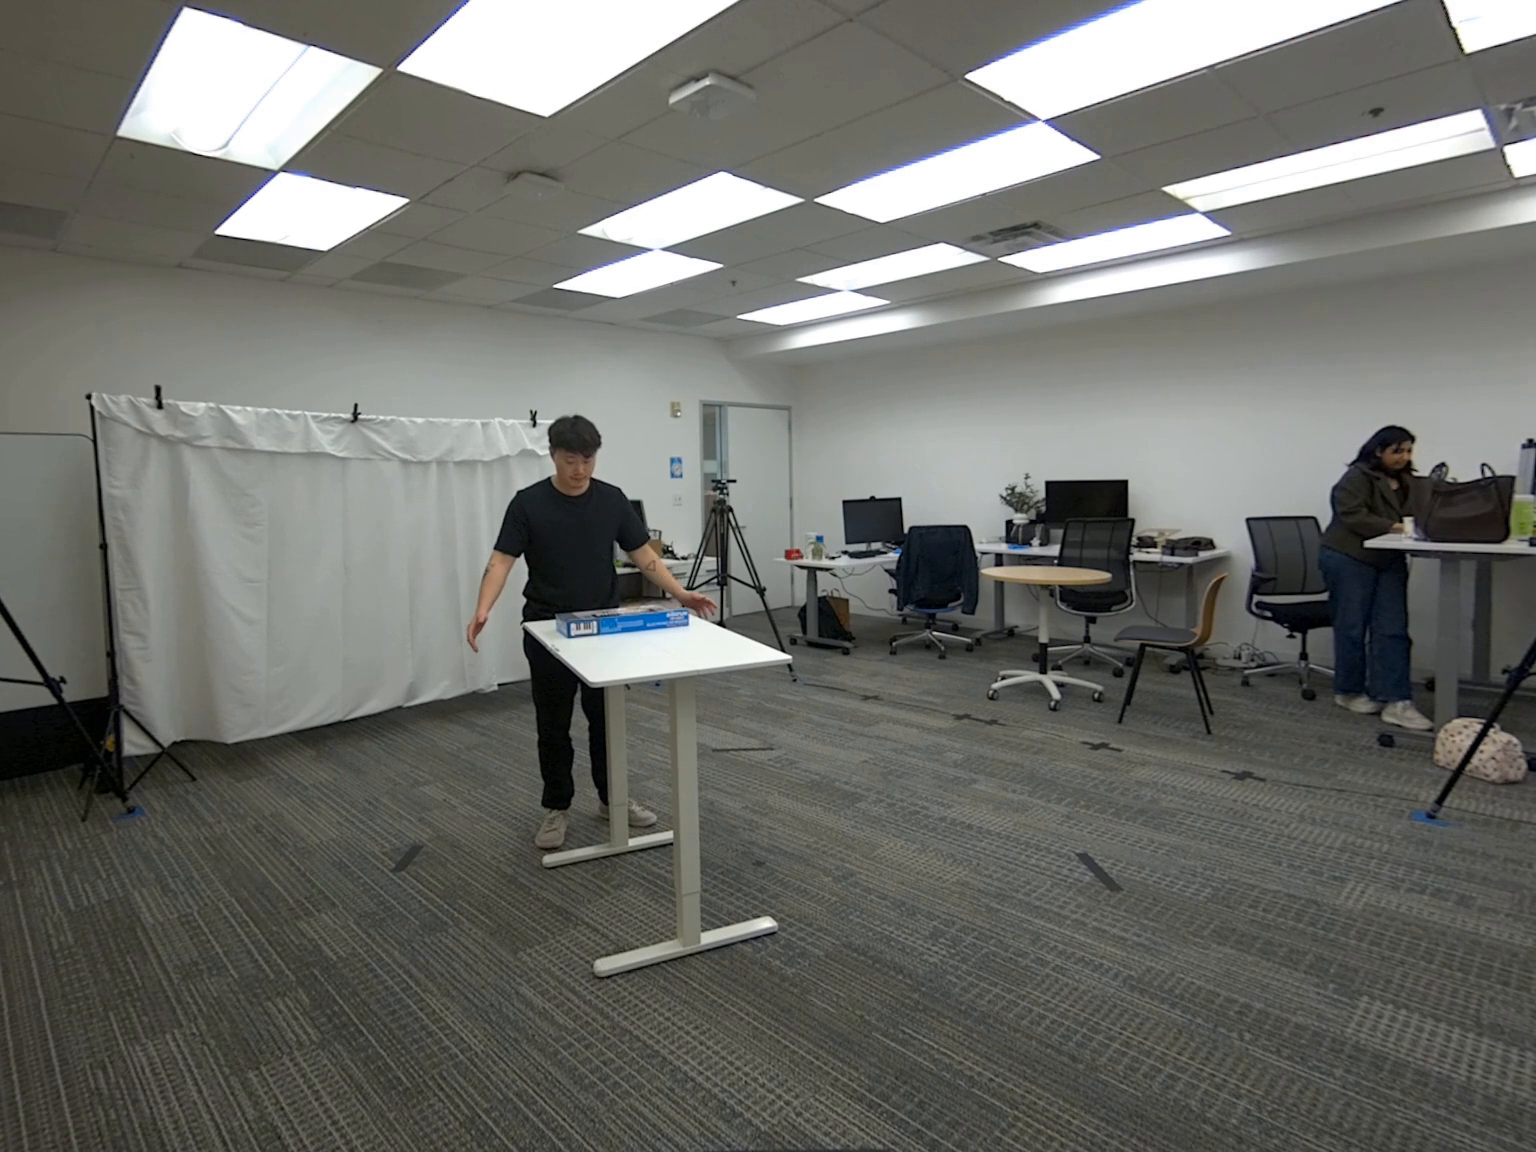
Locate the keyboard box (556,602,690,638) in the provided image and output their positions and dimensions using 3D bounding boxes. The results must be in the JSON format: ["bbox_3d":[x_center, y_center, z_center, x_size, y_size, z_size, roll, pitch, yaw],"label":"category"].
[{"bbox_3d":[-0.521,0.157,3.011,0.428,0.059,0.180,-5,9,-23],"label":"keyboard box"}]
